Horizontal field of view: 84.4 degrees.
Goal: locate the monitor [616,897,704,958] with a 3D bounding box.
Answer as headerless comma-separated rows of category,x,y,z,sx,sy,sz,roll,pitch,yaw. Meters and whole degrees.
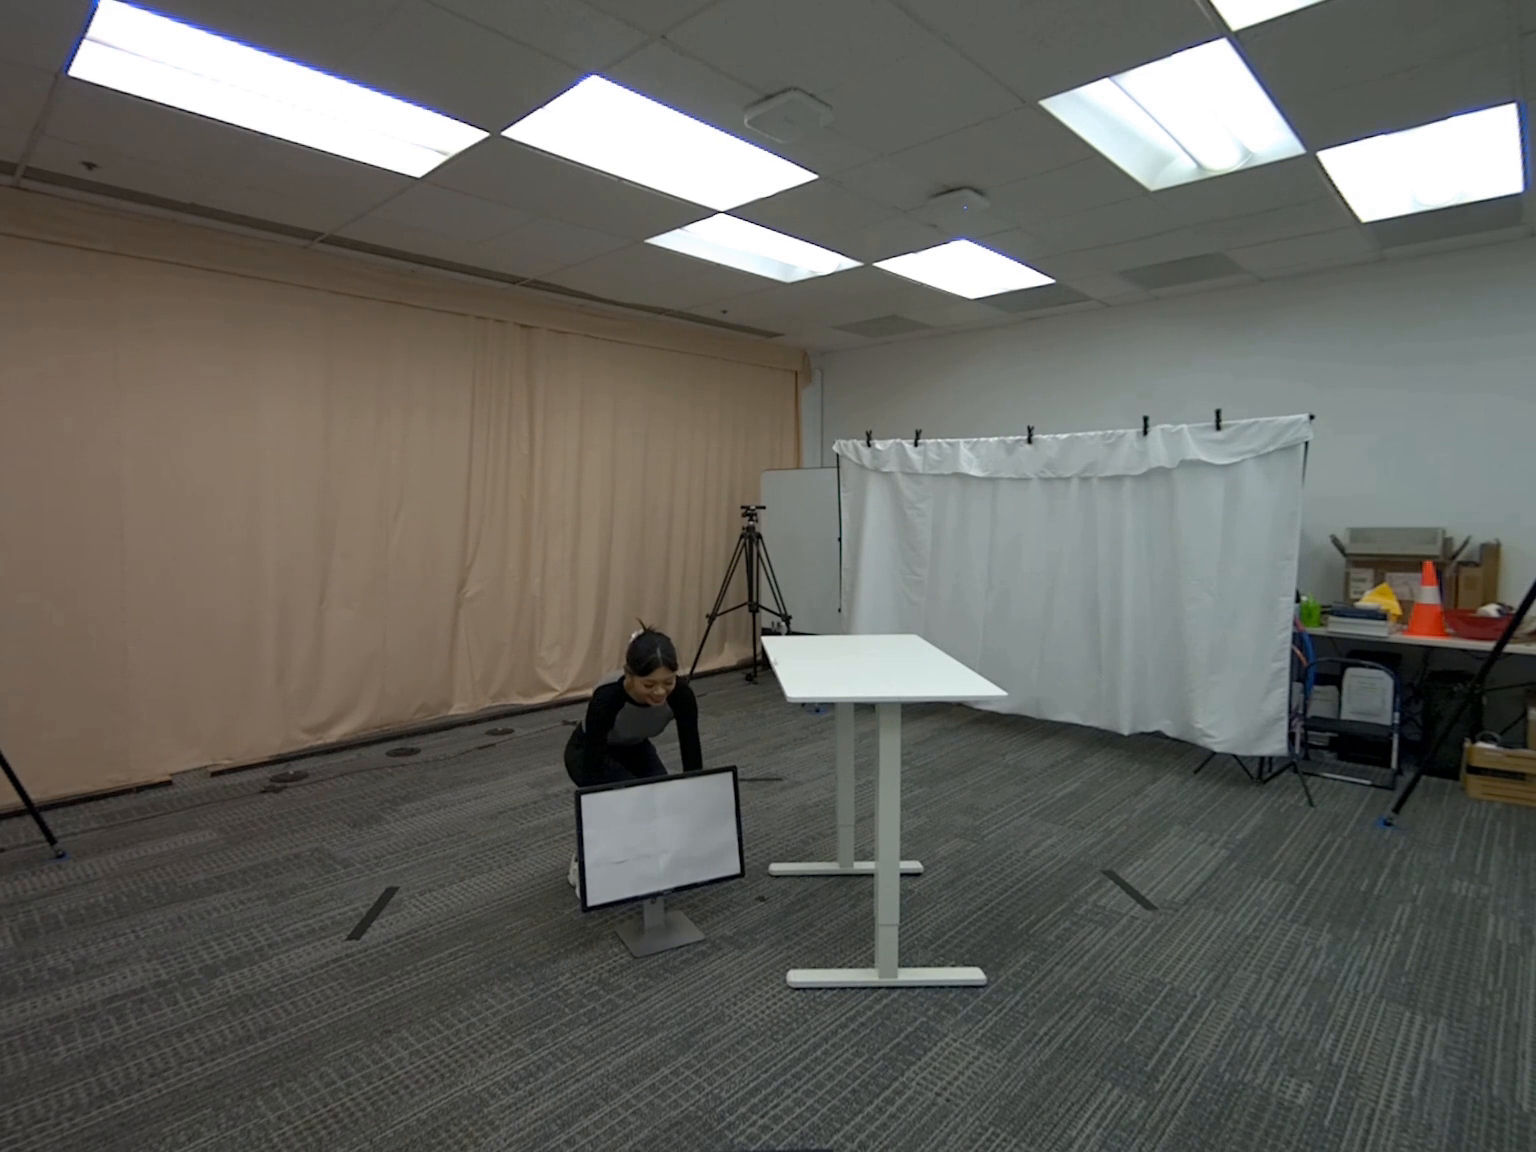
monitor,-0.359,0.907,2.715,0.525,0.521,0.193,-3,6,-29
